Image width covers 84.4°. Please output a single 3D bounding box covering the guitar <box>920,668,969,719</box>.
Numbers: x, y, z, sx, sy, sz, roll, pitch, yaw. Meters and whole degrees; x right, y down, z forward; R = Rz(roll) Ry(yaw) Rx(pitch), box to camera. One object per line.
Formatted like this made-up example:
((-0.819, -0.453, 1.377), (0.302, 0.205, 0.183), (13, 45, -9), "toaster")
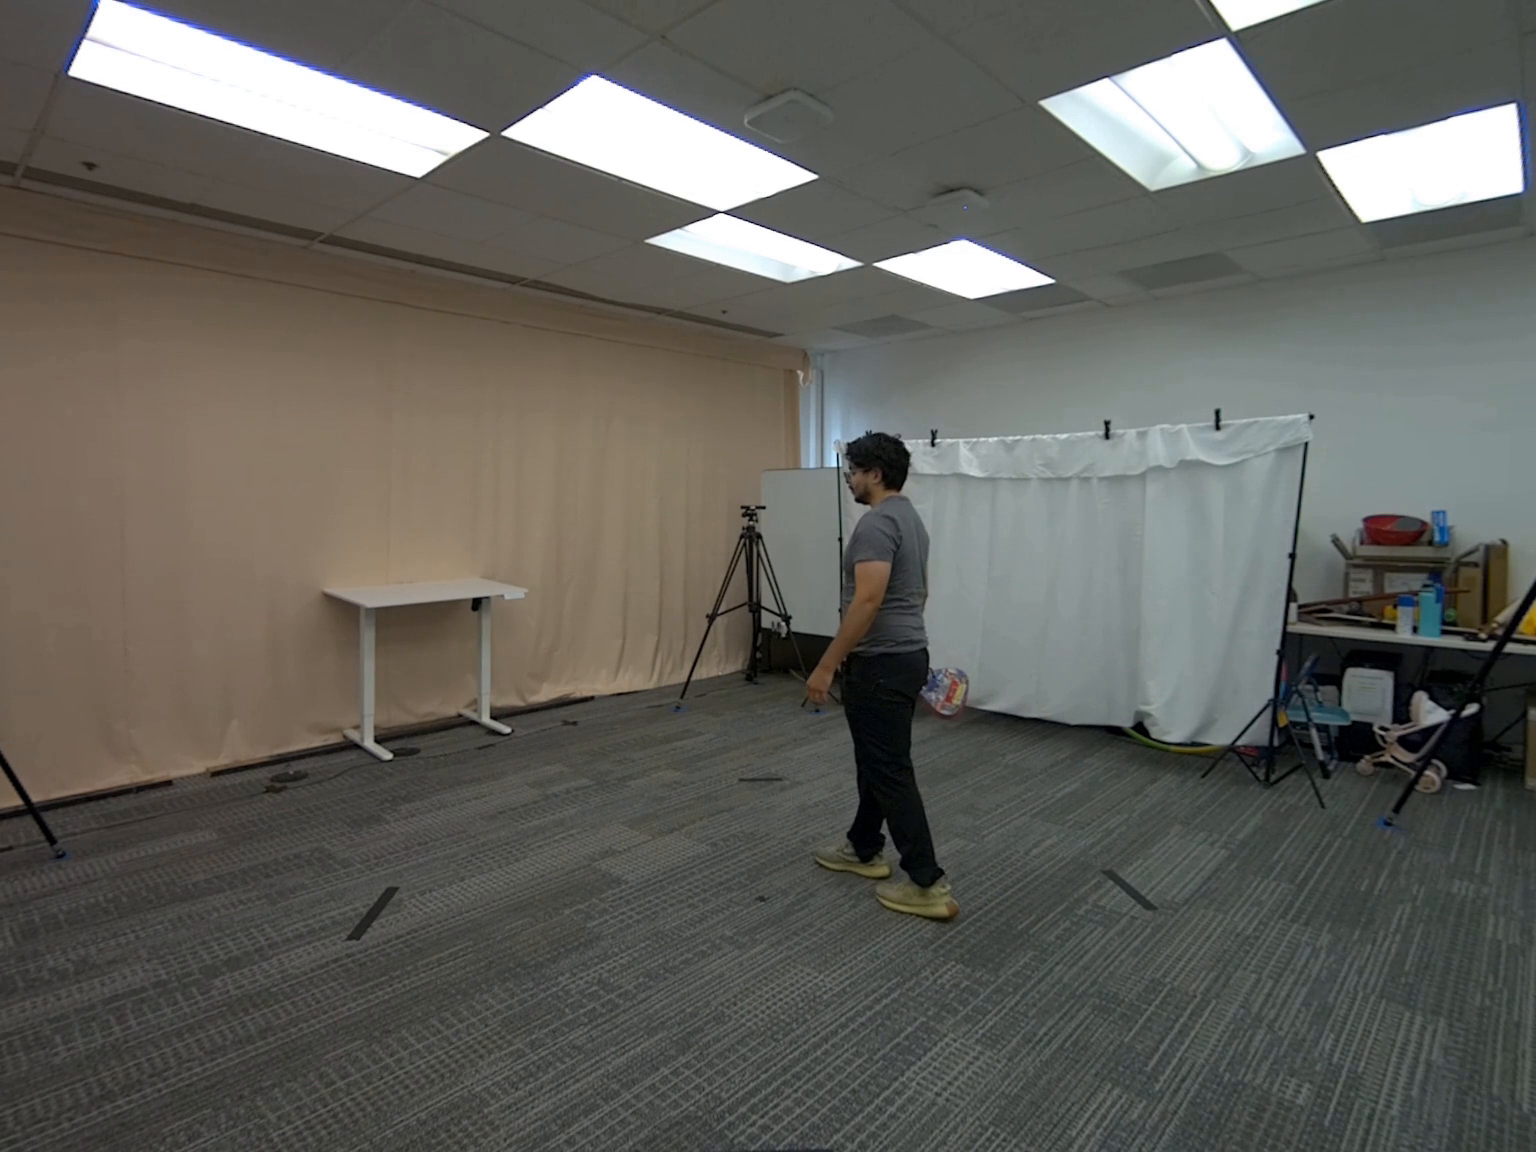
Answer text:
((0.543, 0.365, 3.298), (0.511, 0.193, 0.069), (27, -17, 23), "guitar")
